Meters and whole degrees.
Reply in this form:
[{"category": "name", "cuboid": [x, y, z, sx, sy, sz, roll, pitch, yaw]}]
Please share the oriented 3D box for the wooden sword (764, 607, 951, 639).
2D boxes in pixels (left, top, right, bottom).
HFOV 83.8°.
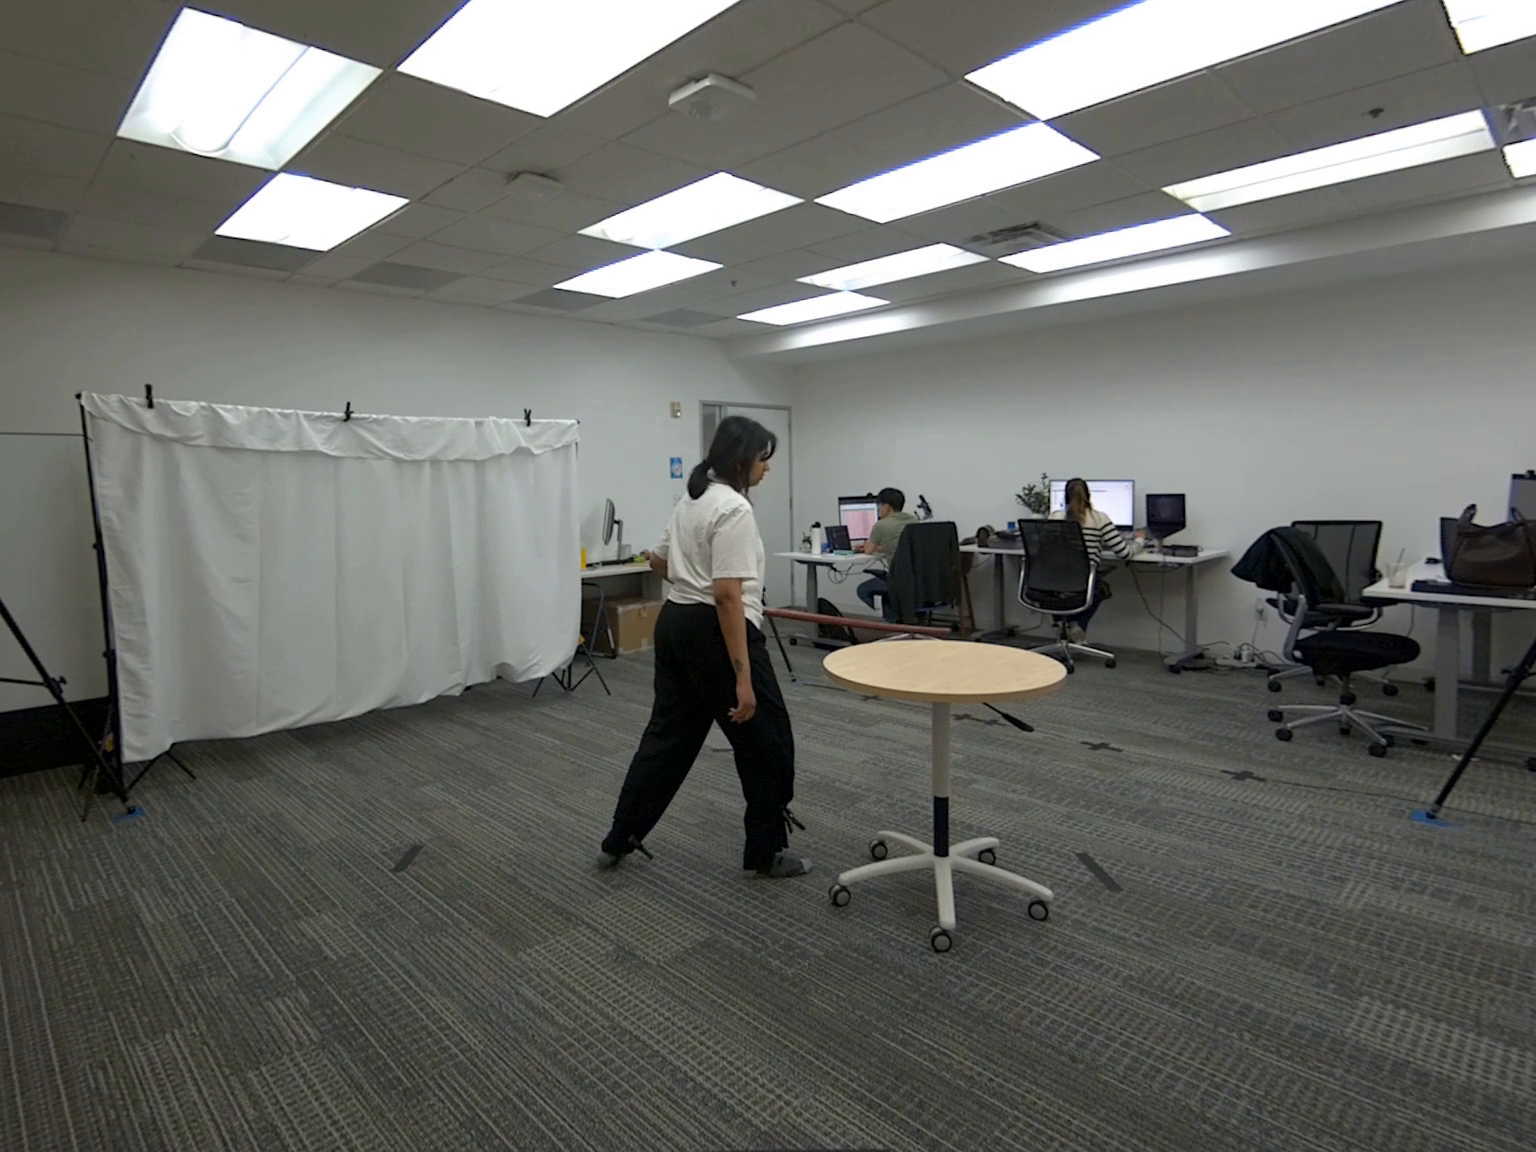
[{"category": "wooden sword", "cuboid": [0.229, 0.172, 3.434, 1.011, 0.024, 0.052, 5, 9, -13]}]
